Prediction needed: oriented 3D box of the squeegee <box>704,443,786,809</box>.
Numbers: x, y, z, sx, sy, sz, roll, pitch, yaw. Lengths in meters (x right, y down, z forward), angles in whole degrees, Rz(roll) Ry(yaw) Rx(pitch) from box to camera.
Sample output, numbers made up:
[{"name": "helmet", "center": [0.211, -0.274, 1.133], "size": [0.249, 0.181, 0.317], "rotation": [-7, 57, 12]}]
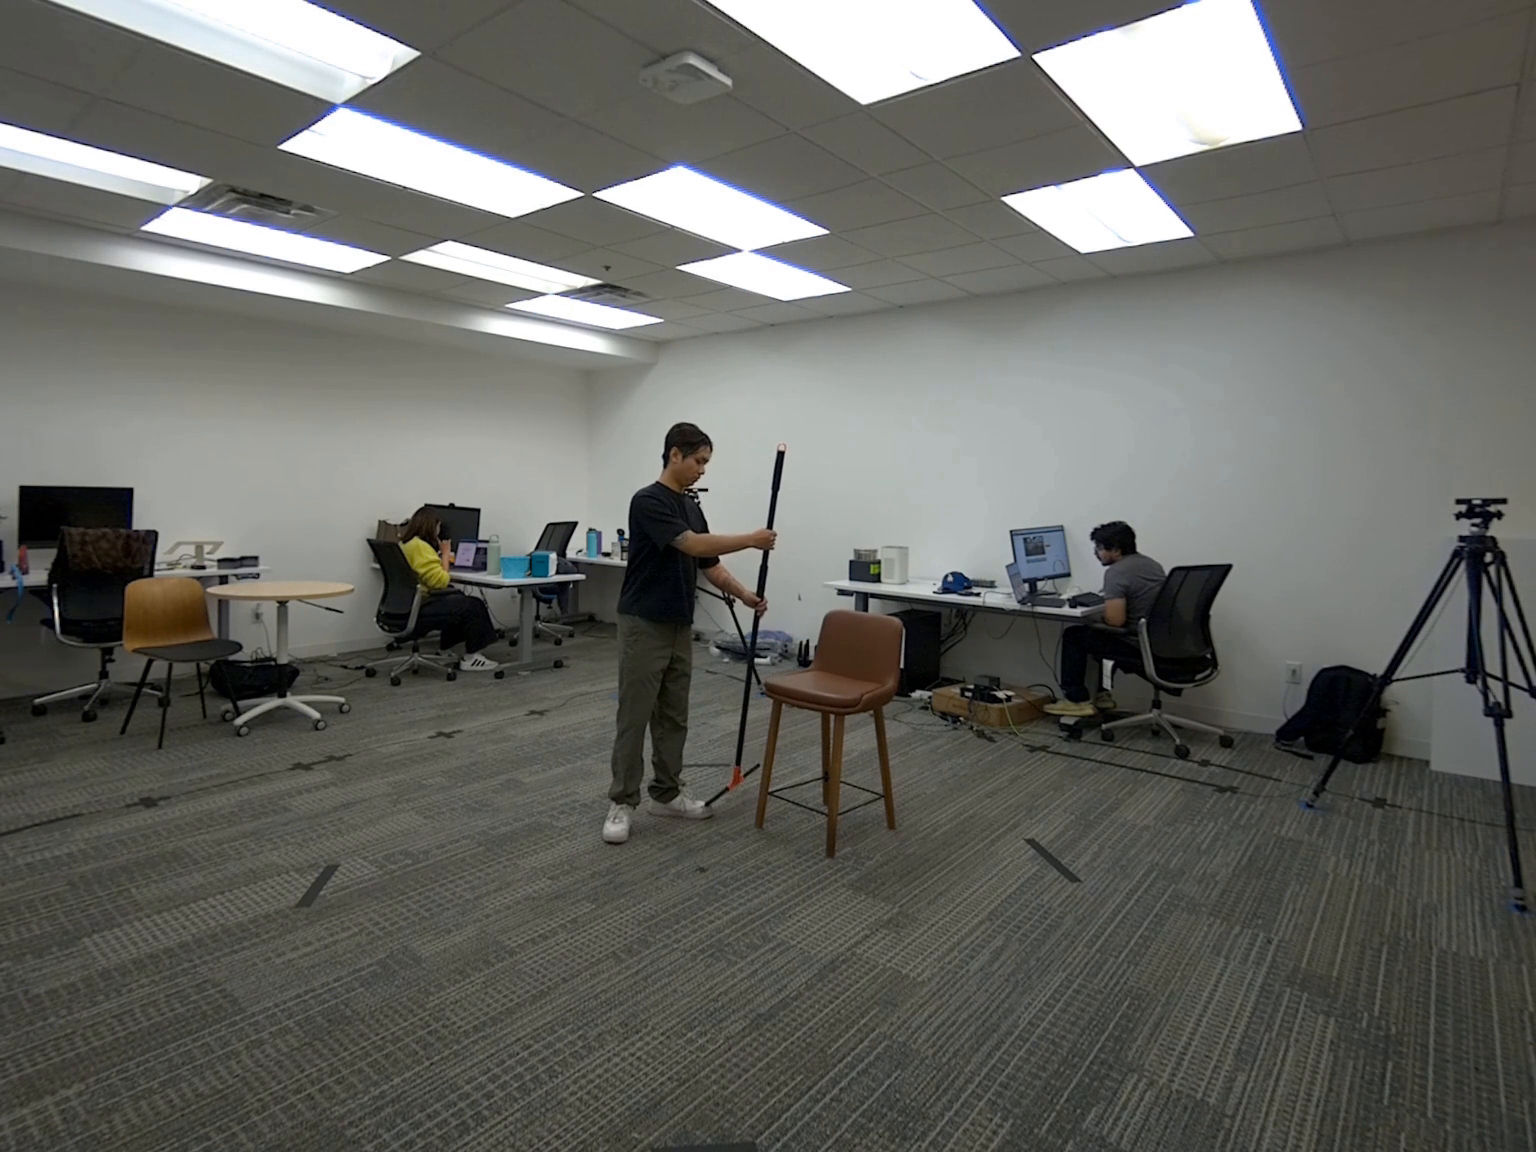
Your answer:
[{"name": "squeegee", "center": [-0.061, 0.217, 3.574], "size": [0.055, 1.523, 0.427], "rotation": [14, 13, 29]}]
